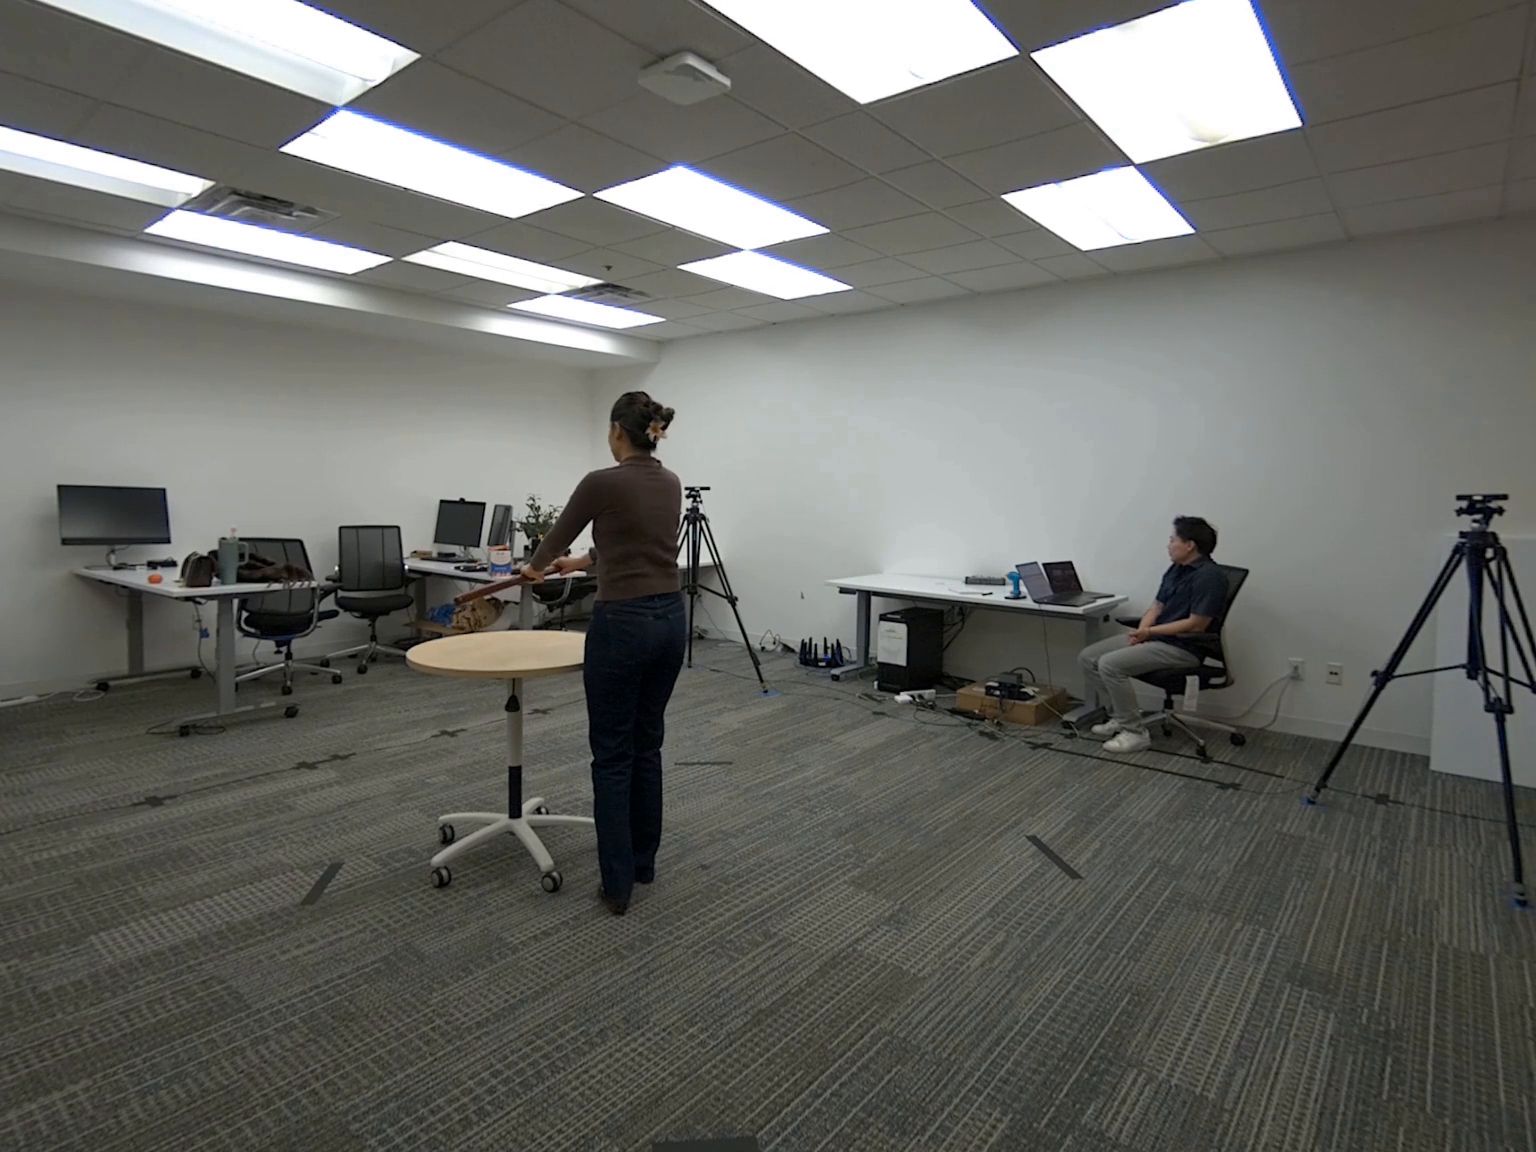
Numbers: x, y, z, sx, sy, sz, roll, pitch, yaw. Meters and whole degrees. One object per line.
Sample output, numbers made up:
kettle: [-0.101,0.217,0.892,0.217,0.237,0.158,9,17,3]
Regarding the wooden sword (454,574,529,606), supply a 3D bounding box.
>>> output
wooden sword: [-0.844,-0.023,3.329,0.053,0.024,1.008,22,20,20]
